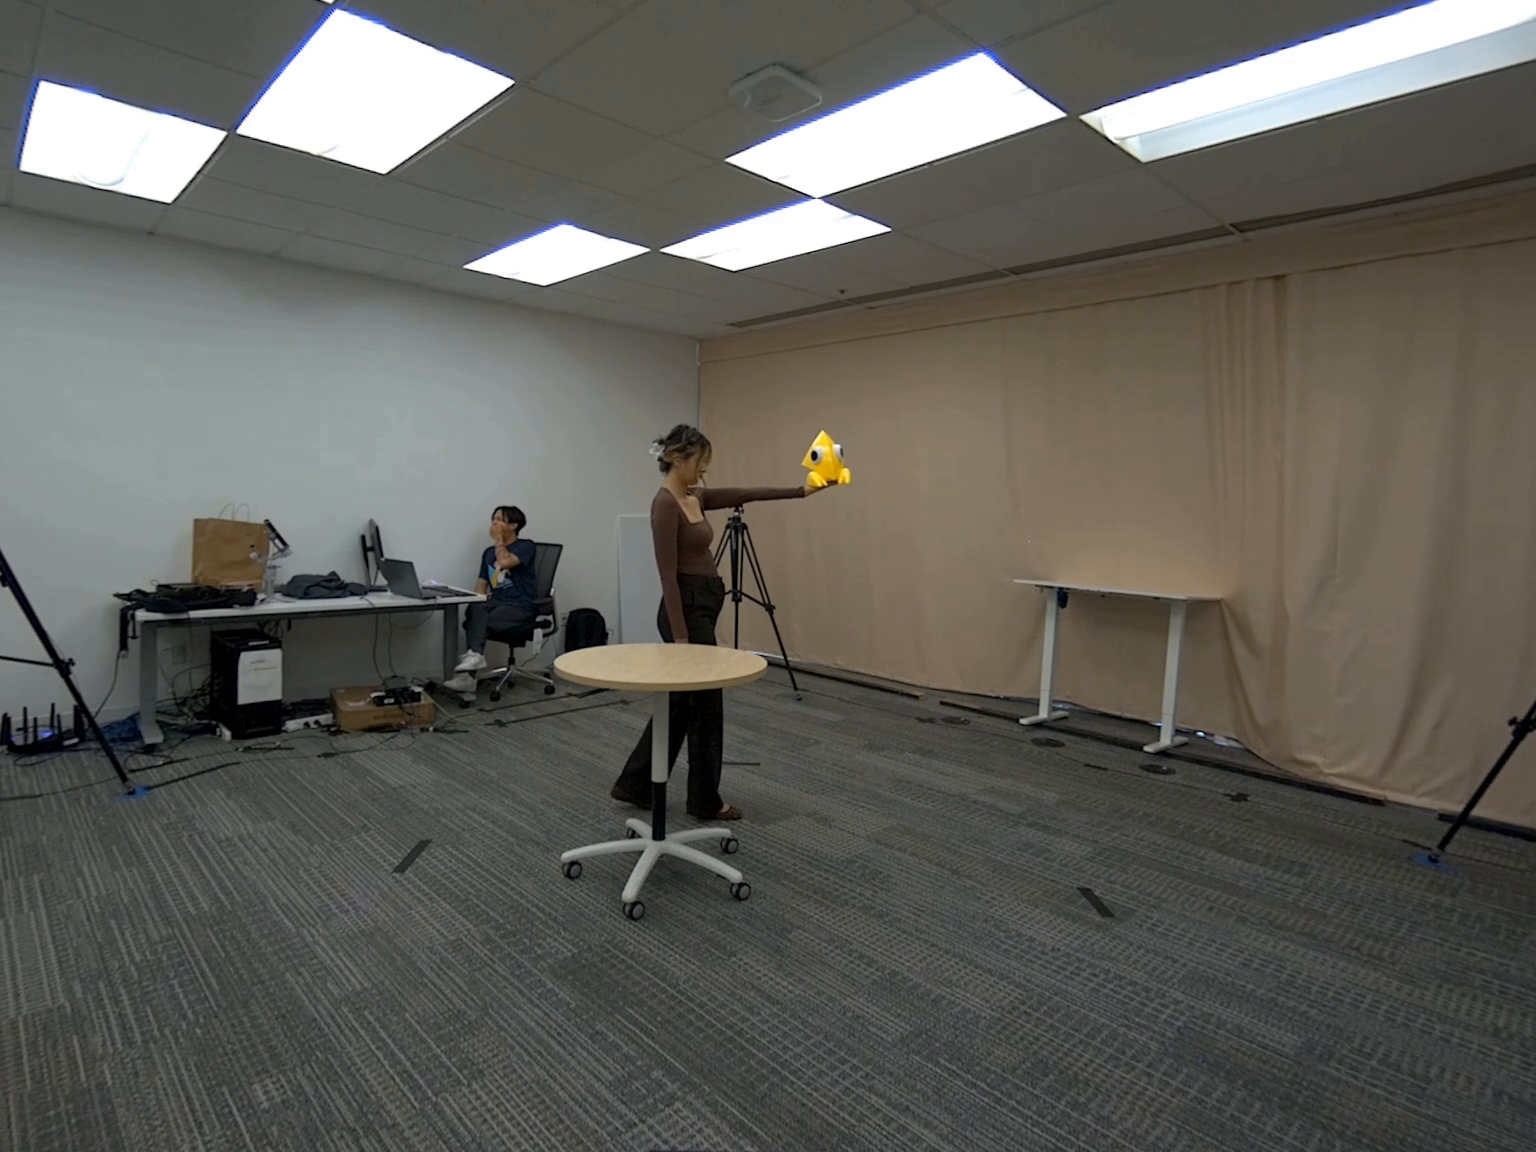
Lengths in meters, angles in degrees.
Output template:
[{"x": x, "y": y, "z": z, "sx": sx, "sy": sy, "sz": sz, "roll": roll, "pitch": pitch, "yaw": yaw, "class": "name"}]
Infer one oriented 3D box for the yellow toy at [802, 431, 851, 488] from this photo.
[{"x": 0.258, "y": -0.542, "z": 3.851, "sx": 0.203, "sy": 0.228, "sz": 0.196, "roll": -6, "pitch": 15, "yaw": -8, "class": "yellow toy"}]
